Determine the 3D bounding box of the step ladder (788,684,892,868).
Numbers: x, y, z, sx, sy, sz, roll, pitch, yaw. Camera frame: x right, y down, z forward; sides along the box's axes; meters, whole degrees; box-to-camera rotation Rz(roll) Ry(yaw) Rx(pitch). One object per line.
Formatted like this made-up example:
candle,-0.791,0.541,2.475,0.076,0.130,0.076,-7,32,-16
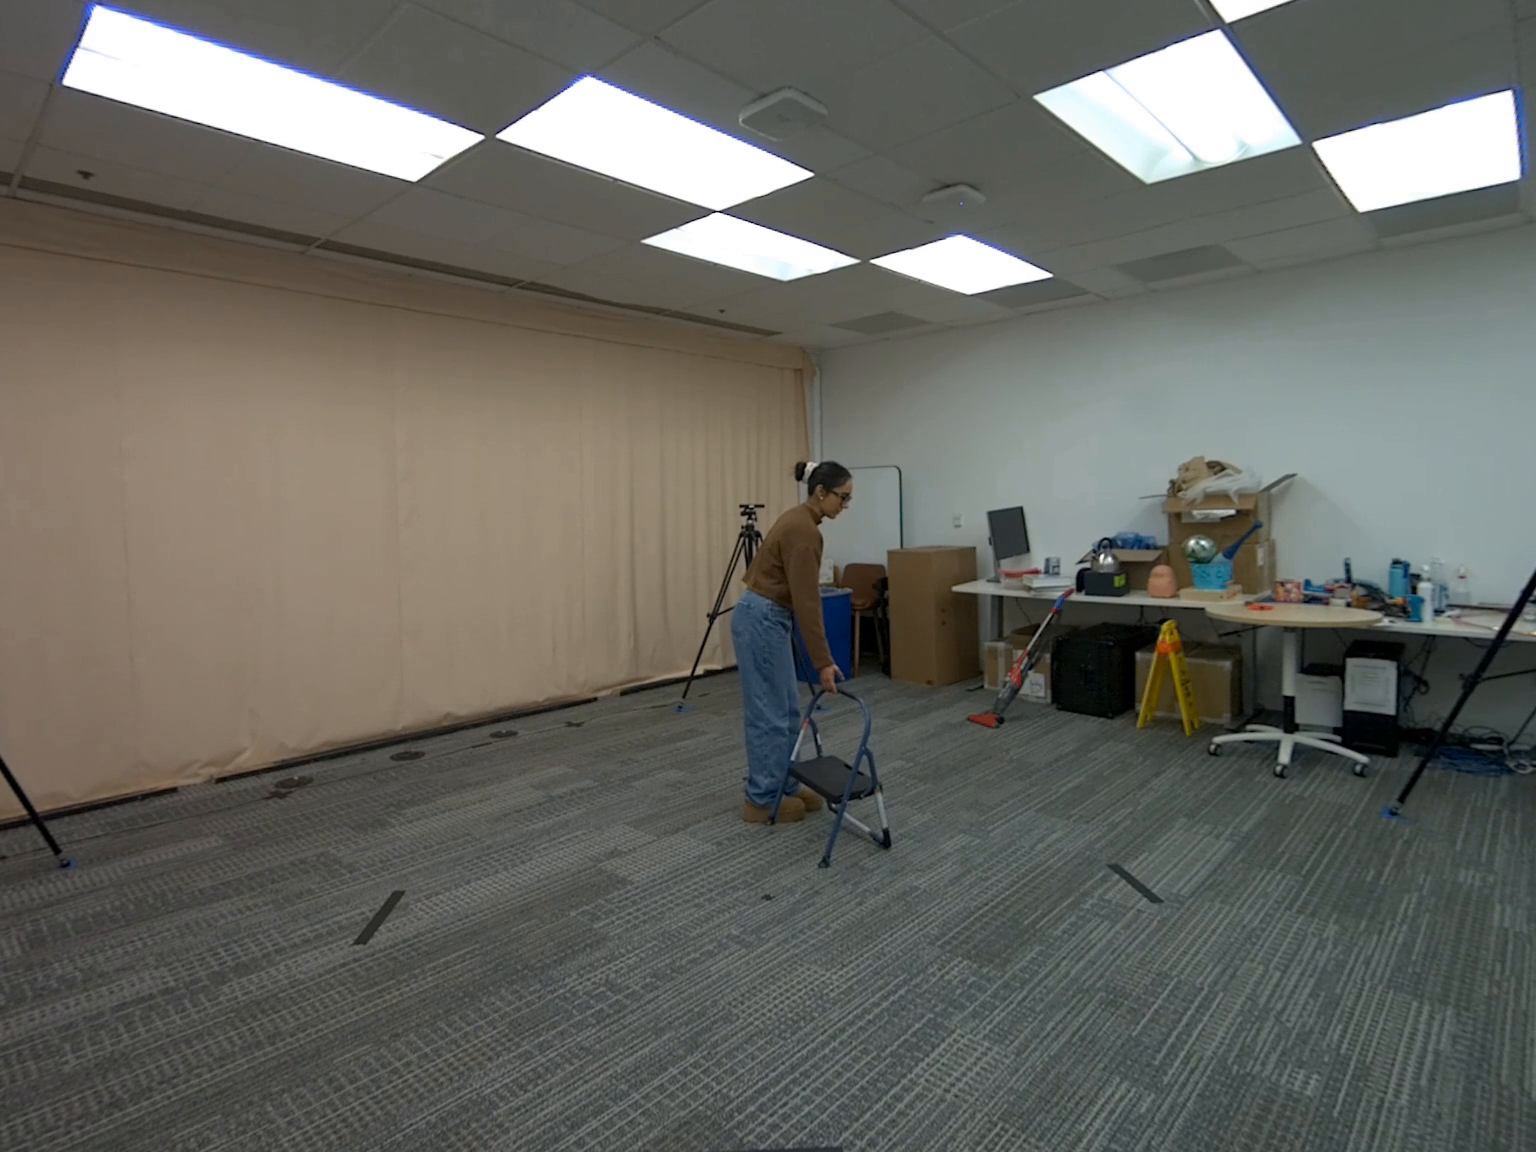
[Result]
step ladder,0.259,0.771,3.440,0.340,0.603,0.444,-4,9,-30
